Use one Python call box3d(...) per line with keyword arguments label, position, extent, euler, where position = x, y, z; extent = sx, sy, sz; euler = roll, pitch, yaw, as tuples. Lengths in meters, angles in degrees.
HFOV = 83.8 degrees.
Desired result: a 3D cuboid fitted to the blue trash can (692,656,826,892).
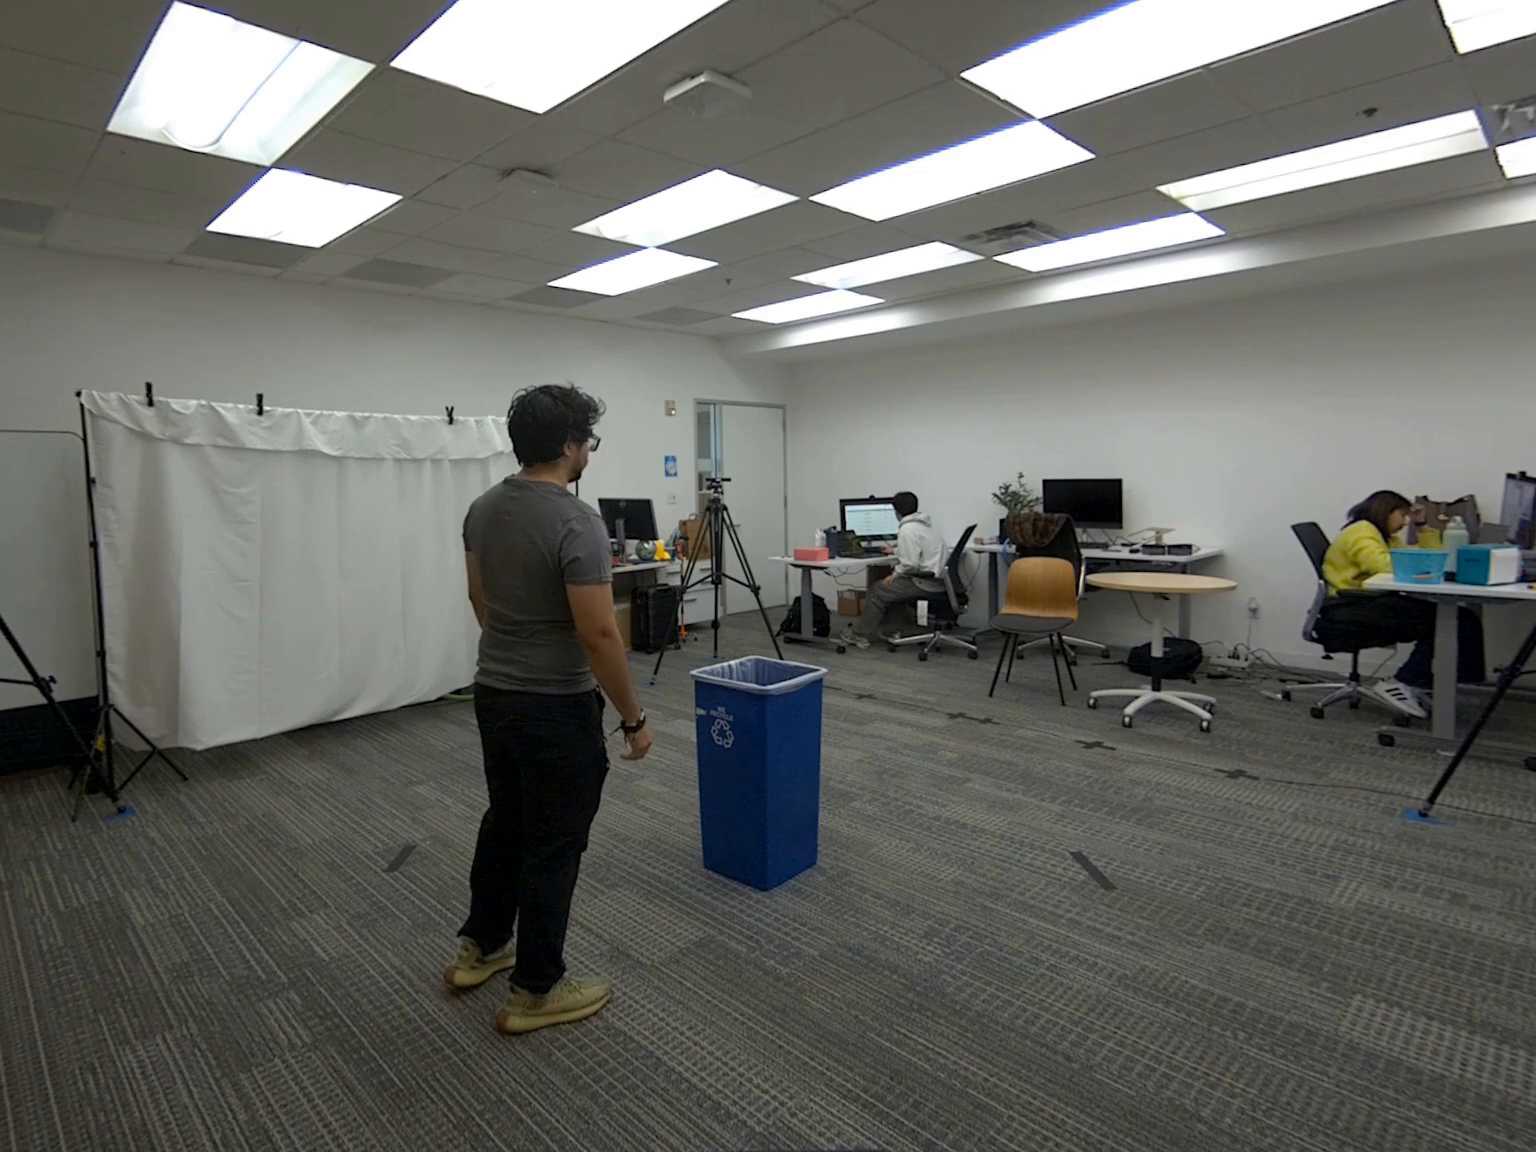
box3d(label="blue trash can", position=(-0.022, 0.688, 3.062), extent=(0.385, 0.711, 0.368), euler=(3, 5, 41))
